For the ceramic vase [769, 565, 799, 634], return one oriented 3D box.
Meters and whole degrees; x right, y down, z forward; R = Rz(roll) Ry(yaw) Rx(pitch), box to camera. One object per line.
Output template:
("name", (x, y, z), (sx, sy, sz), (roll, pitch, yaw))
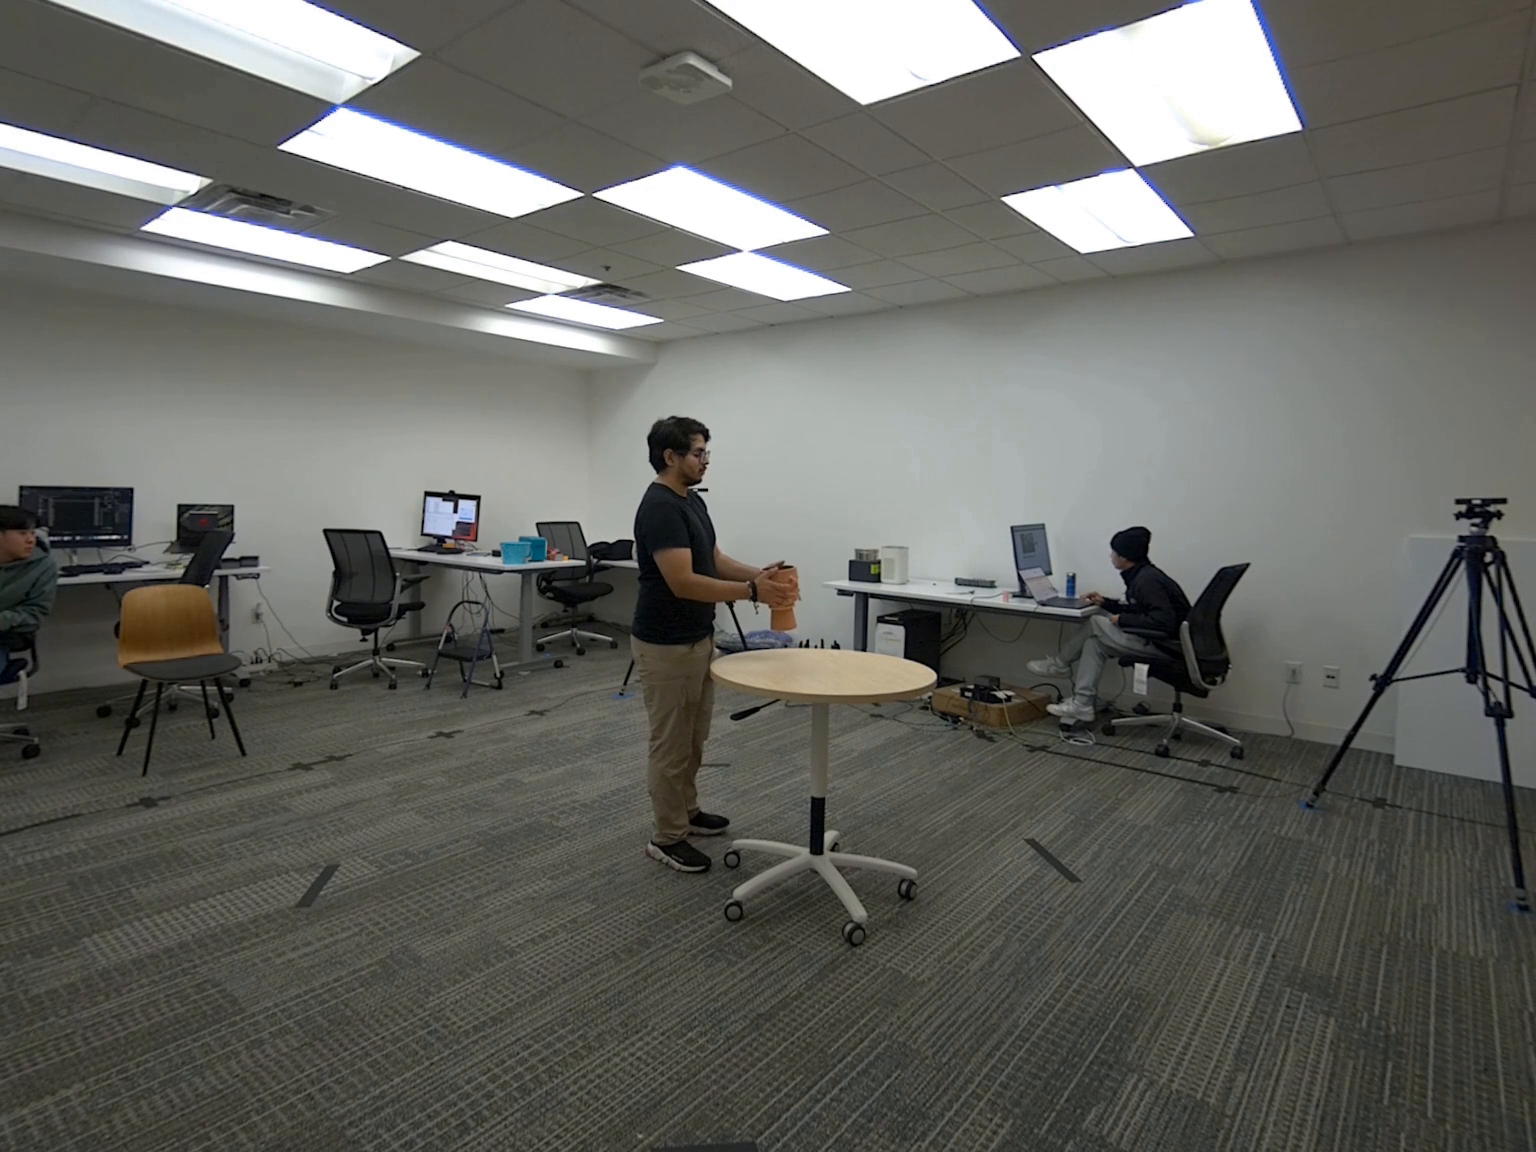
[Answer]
("ceramic vase", (0.037, 0.081, 3.065), (0.134, 0.218, 0.160), (-4, 7, -2))
